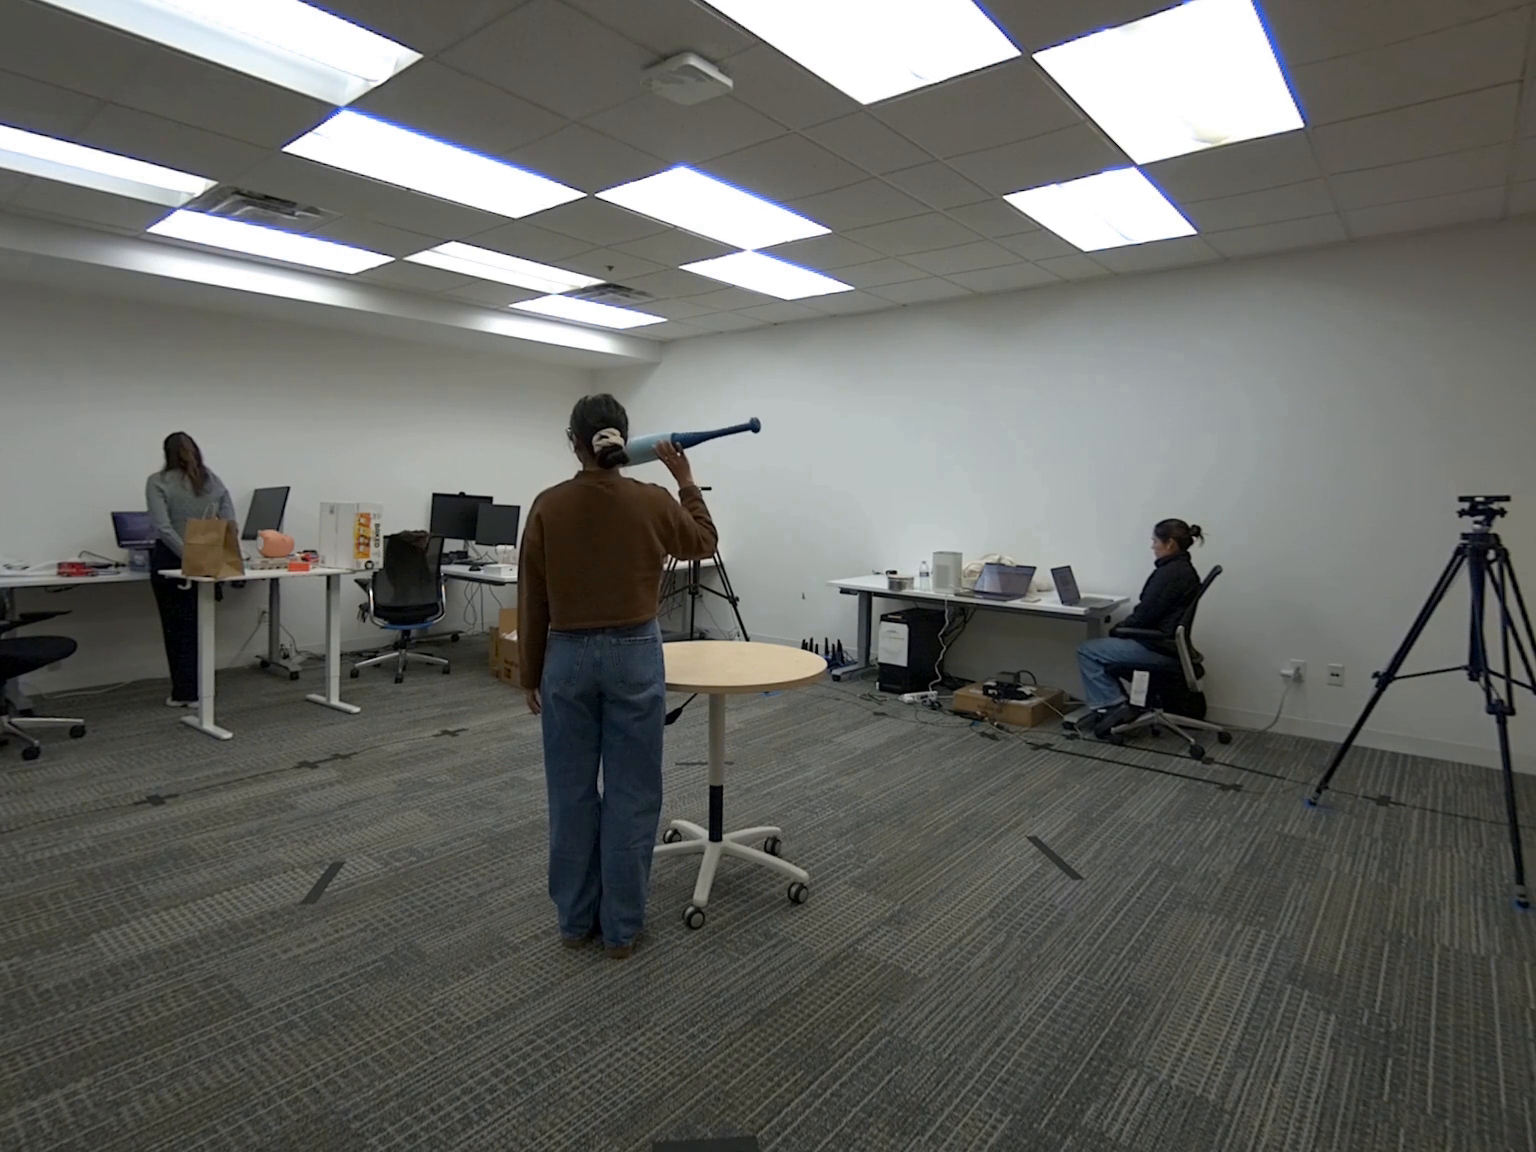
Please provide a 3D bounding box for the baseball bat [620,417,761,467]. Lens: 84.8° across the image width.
[{"bbox_3d":[-0.294,-0.431,2.720,0.554,0.089,0.087,-7,1,23],"label":"baseball bat"}]
